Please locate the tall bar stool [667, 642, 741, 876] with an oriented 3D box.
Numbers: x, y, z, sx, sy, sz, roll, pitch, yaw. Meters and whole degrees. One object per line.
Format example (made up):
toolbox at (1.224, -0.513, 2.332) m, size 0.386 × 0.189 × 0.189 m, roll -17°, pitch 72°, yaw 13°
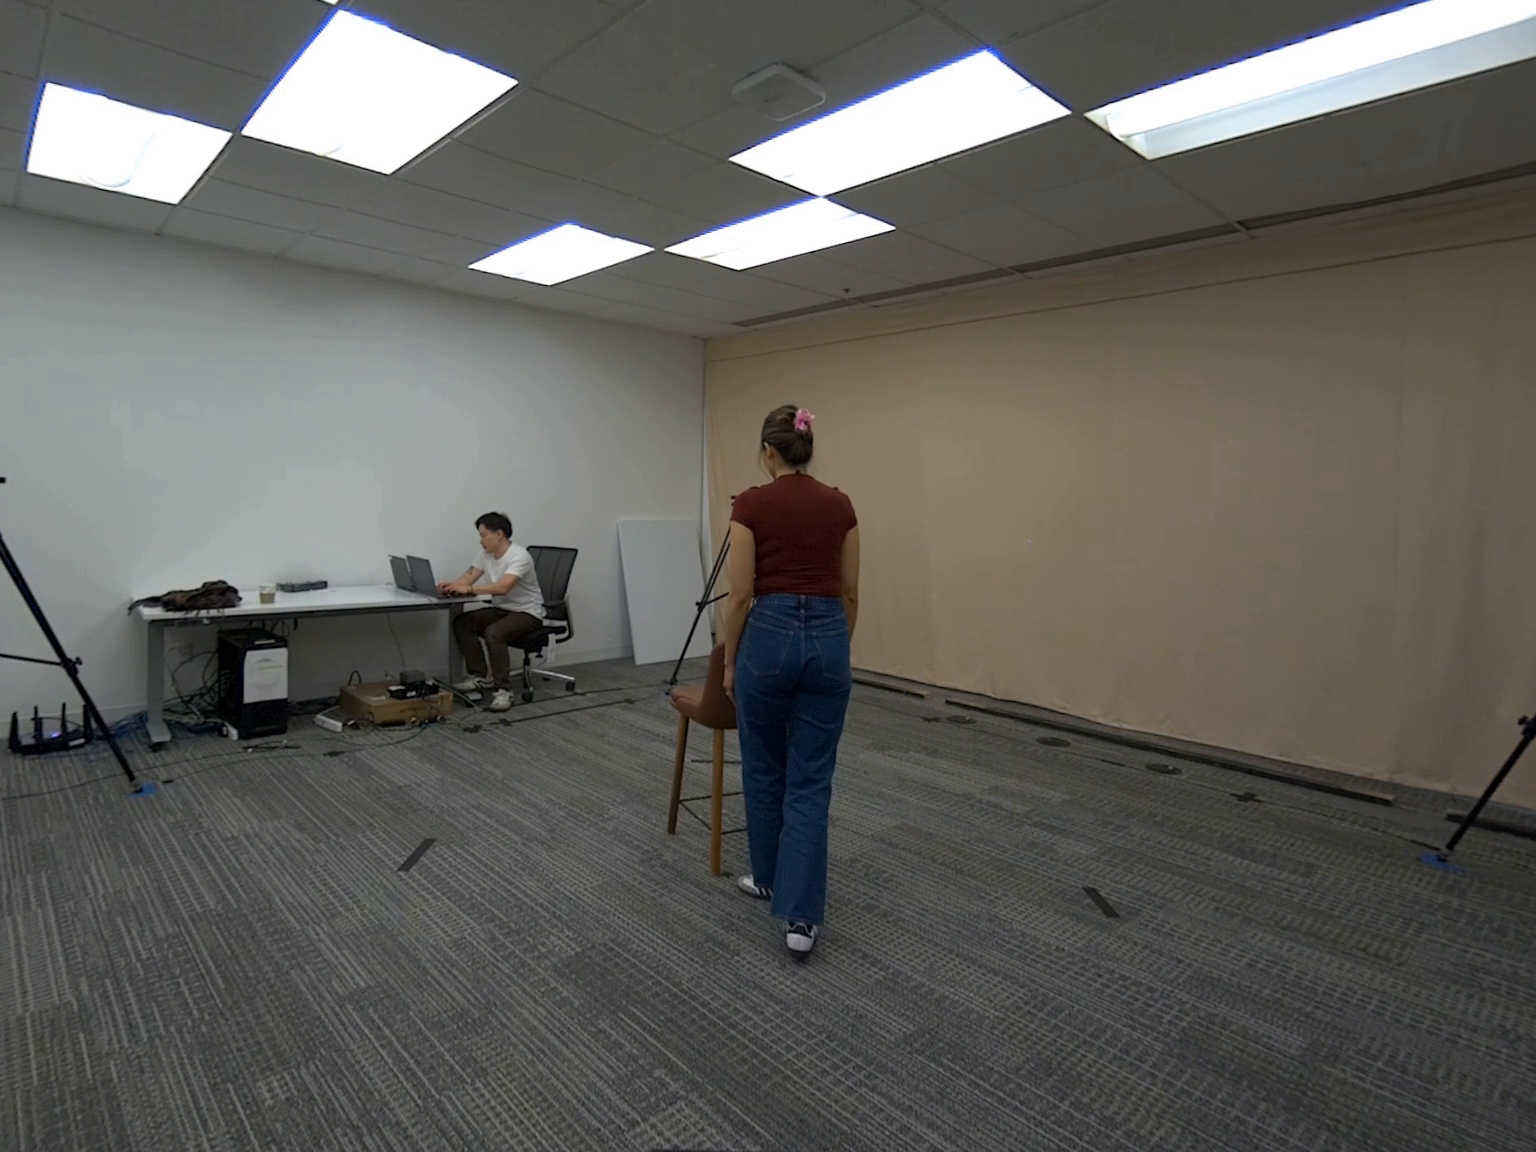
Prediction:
tall bar stool at (-0.128, 0.645, 3.331) m, size 0.448 × 0.886 × 0.478 m, roll -1°, pitch 6°, yaw -26°
